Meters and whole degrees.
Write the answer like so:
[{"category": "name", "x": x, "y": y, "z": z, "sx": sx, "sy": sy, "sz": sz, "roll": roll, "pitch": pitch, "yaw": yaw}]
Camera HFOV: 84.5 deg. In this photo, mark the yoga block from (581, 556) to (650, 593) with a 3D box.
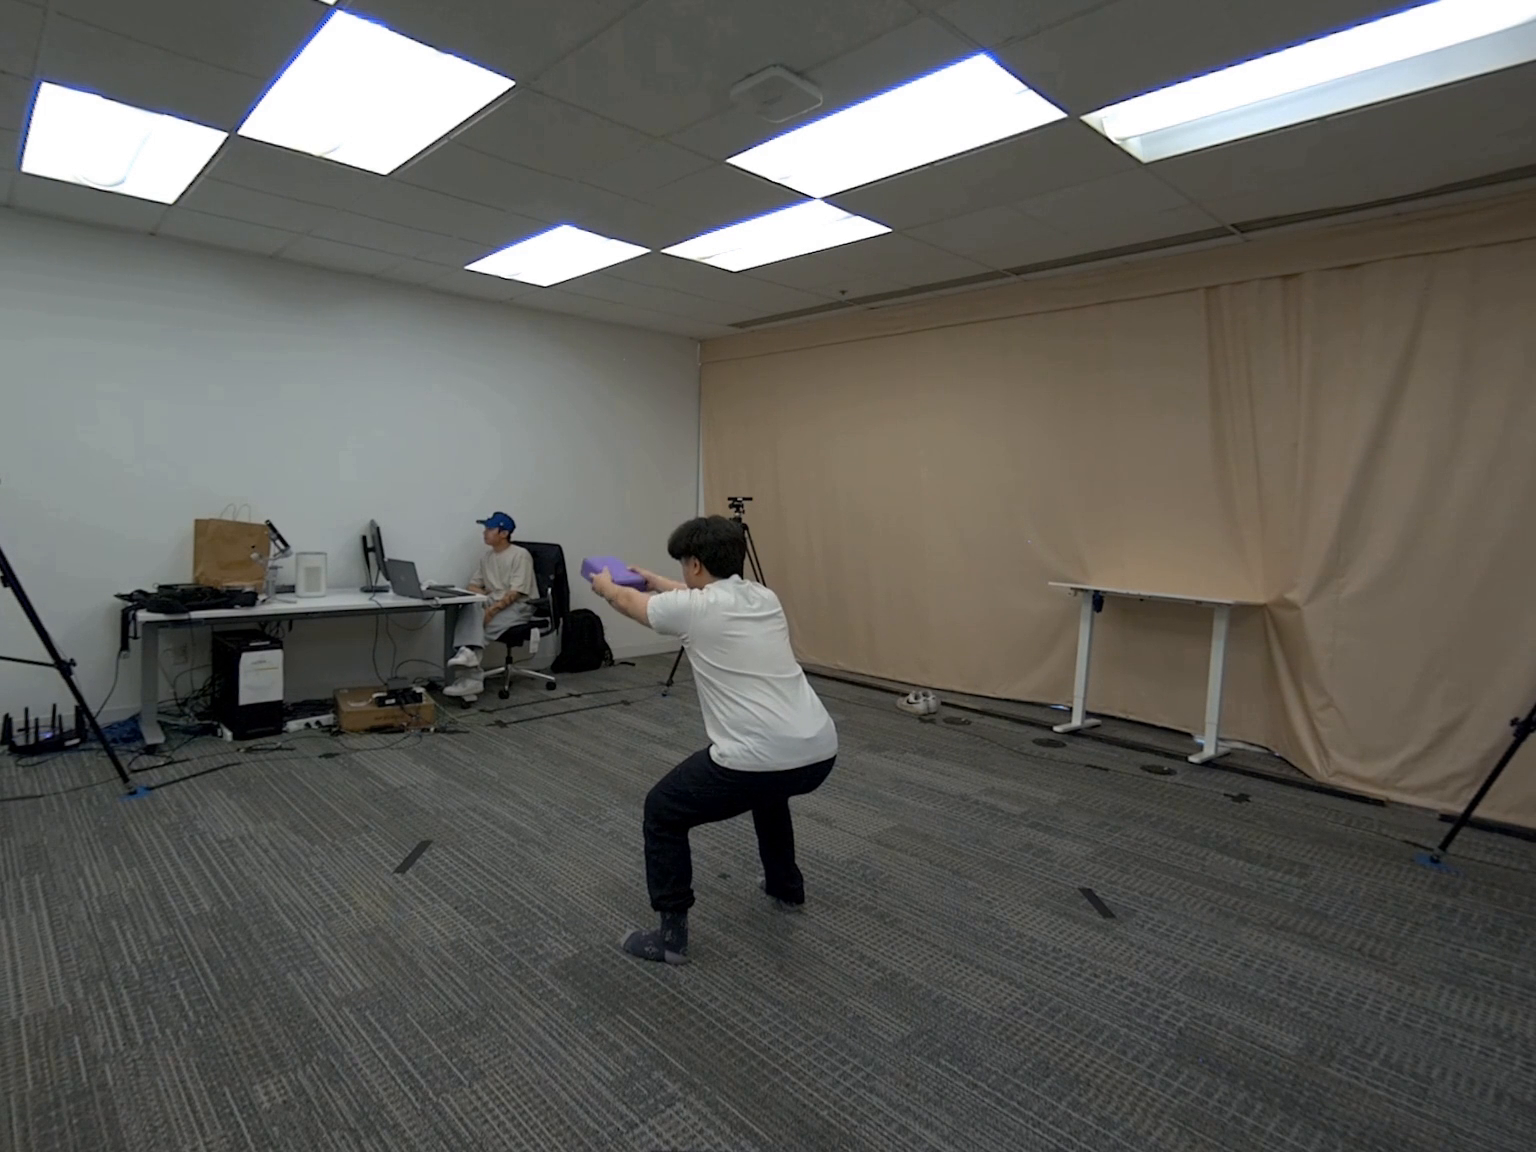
[{"category": "yoga block", "x": -0.591, "y": -0.001, "z": 3.203, "sx": 0.236, "sy": 0.076, "sz": 0.146, "roll": 27, "pitch": 23, "yaw": 39}]
